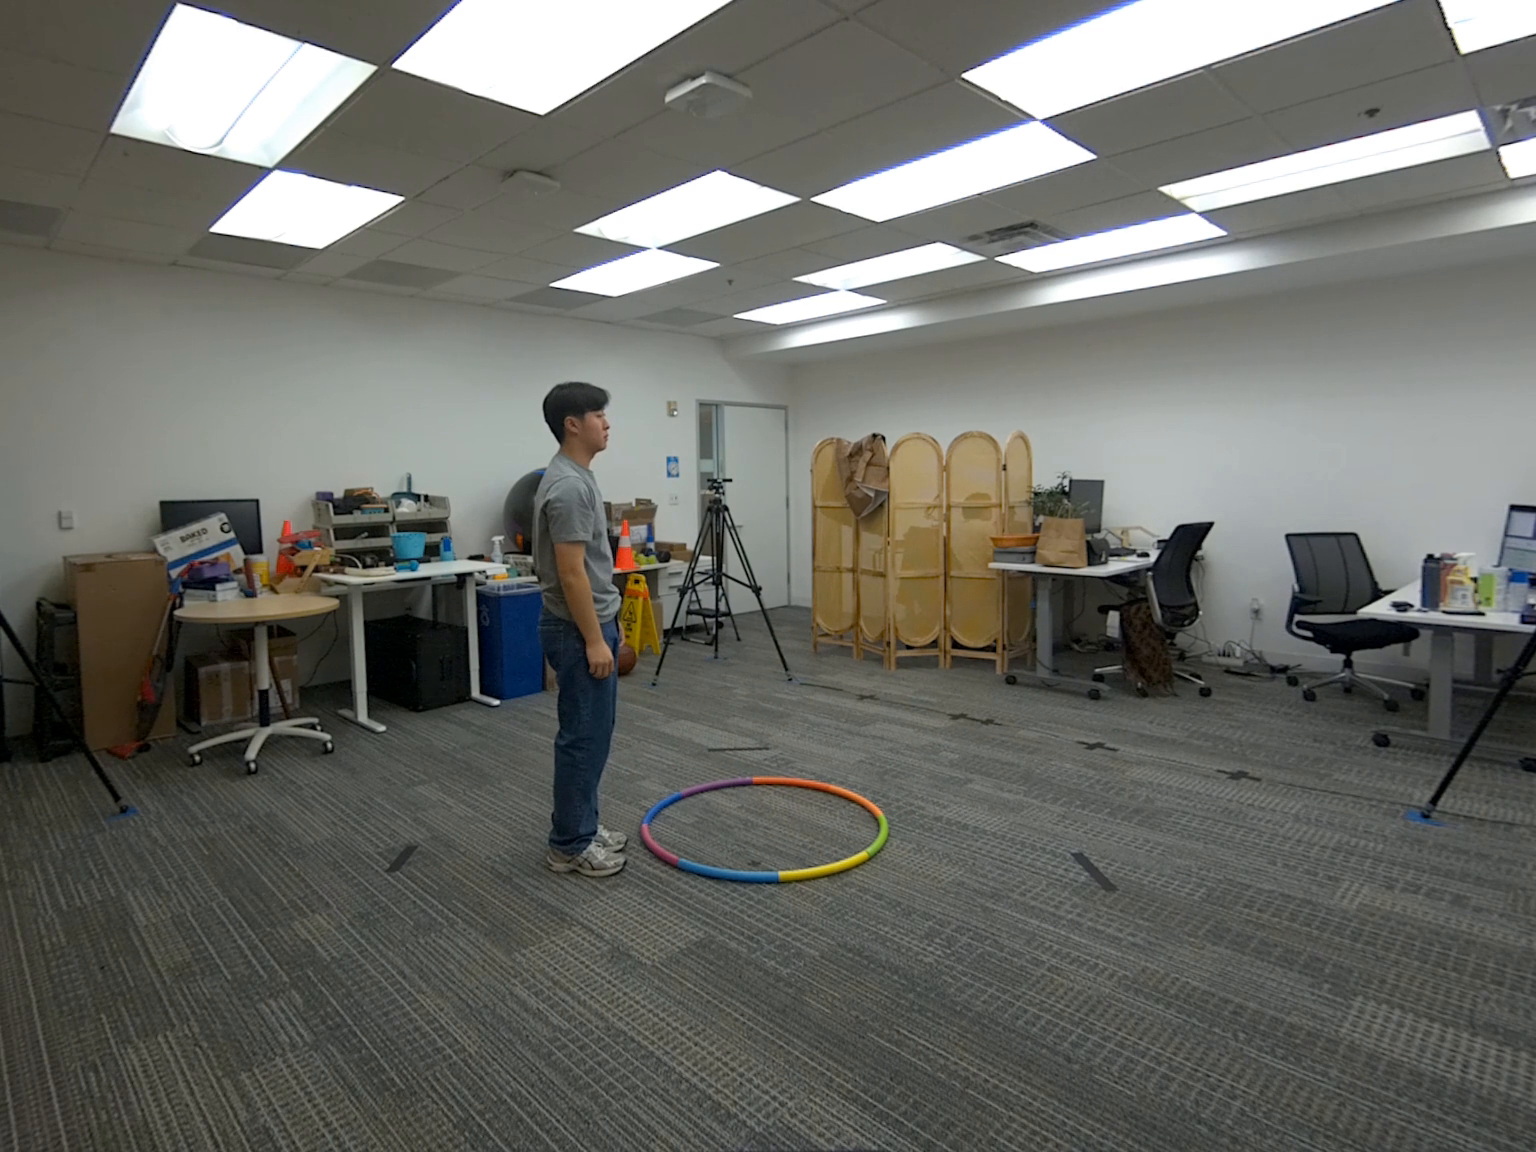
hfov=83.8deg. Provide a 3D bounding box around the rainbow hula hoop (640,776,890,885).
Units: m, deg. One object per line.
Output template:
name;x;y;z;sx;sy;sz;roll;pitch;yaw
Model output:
rainbow hula hoop;-0.016;0.980;3.432;0.978;0.035;0.984;-1;6;-2
